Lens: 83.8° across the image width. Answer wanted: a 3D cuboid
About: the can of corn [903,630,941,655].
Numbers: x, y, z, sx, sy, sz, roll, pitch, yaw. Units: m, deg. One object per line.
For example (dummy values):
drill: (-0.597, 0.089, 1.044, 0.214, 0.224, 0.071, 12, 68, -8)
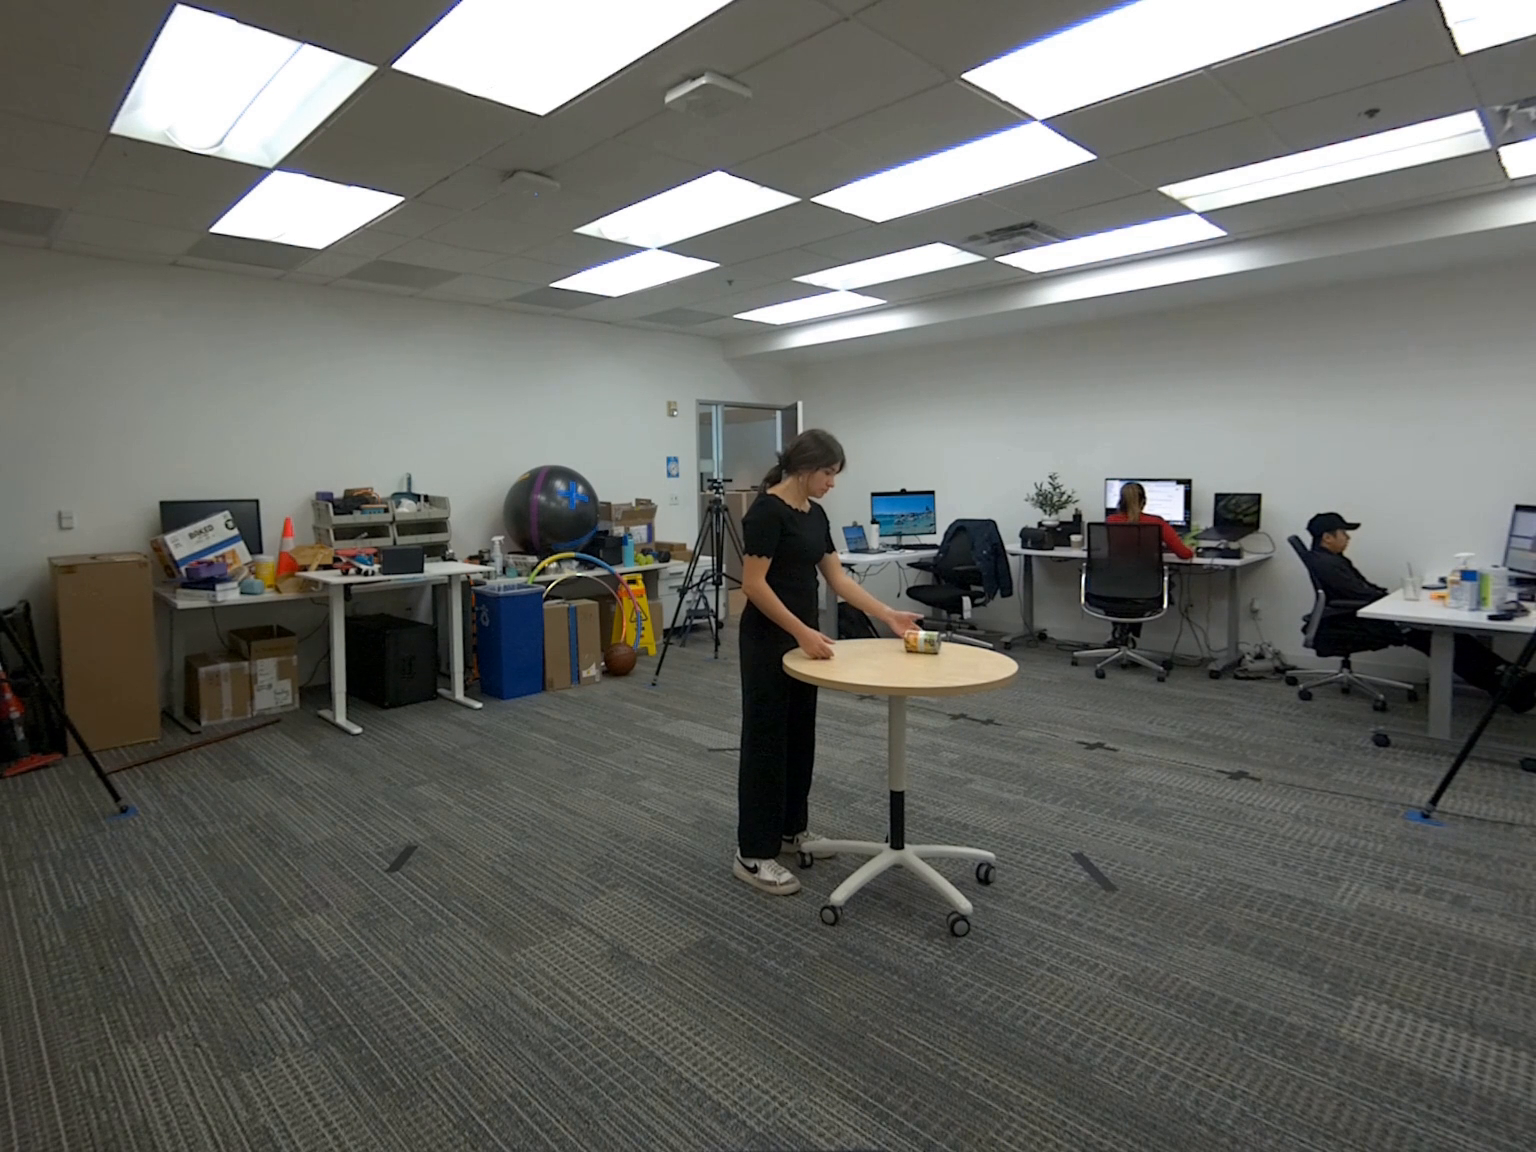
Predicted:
can of corn: (0.529, 0.229, 2.970, 0.113, 0.074, 0.073, 3, 6, 23)
